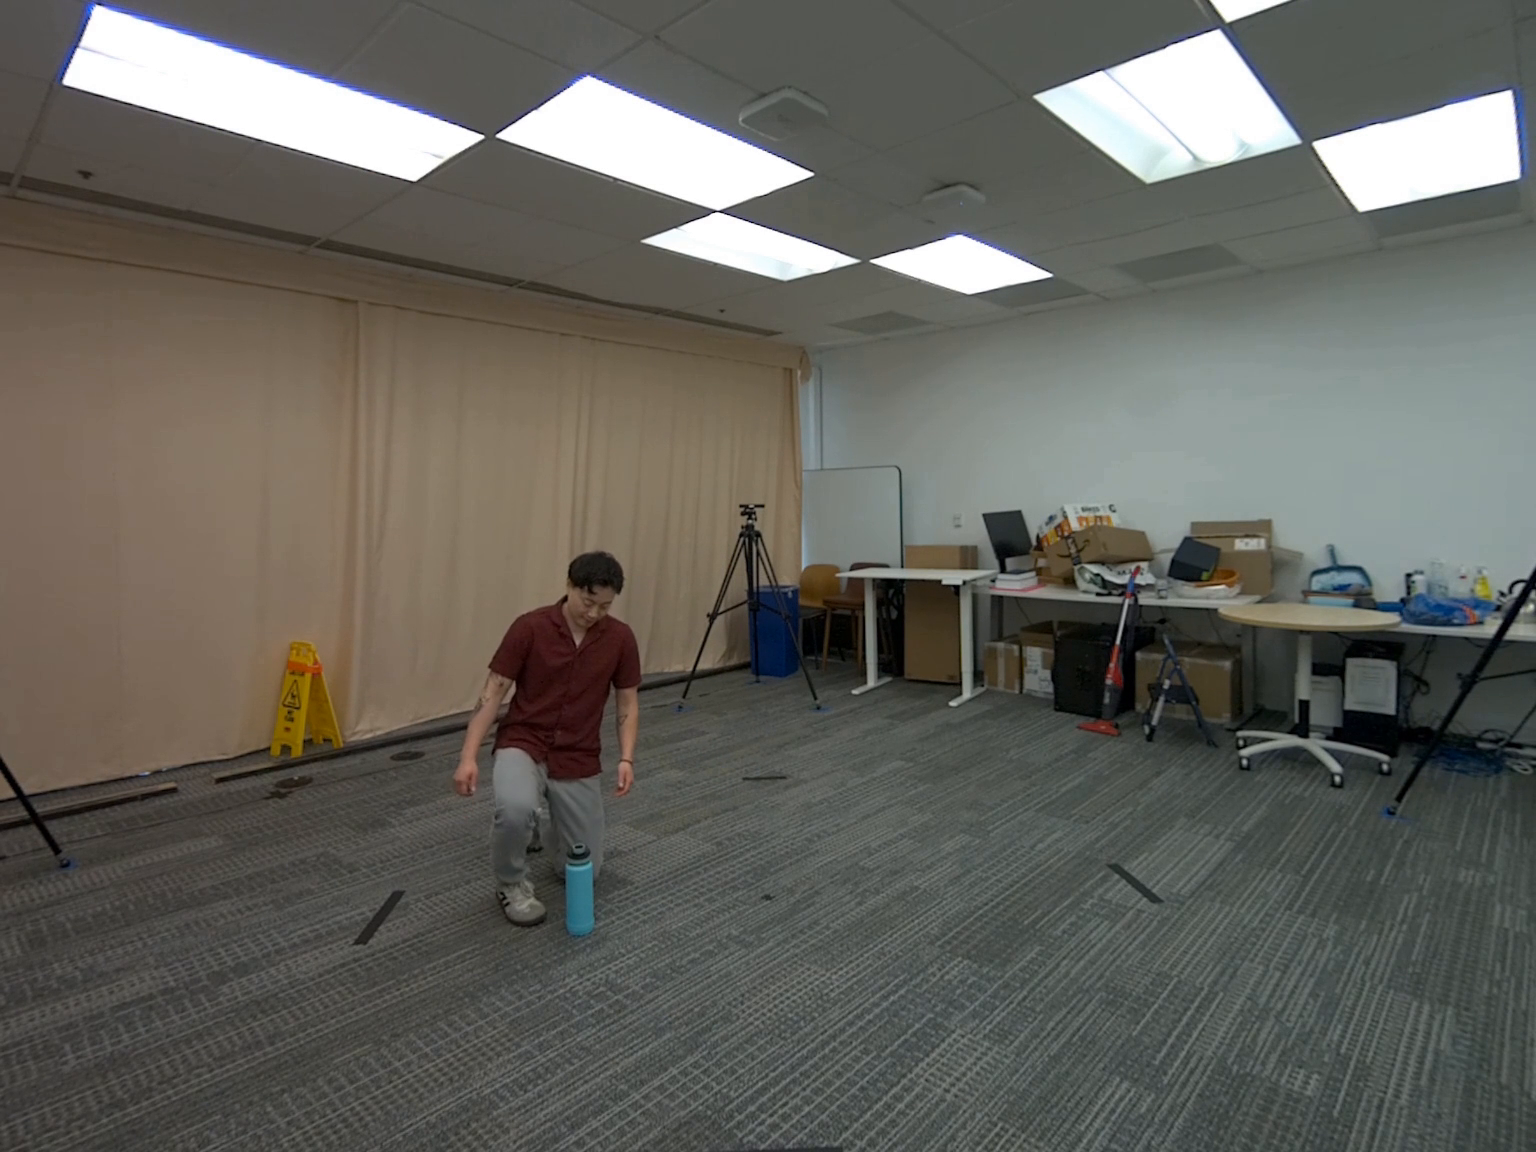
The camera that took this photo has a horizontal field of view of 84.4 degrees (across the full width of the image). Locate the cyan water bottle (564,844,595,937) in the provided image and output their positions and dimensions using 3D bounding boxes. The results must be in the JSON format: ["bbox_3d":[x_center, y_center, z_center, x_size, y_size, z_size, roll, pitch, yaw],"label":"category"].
[{"bbox_3d":[-0.630,1.038,2.775,0.092,0.283,0.092,-2,1,-2],"label":"cyan water bottle"}]
